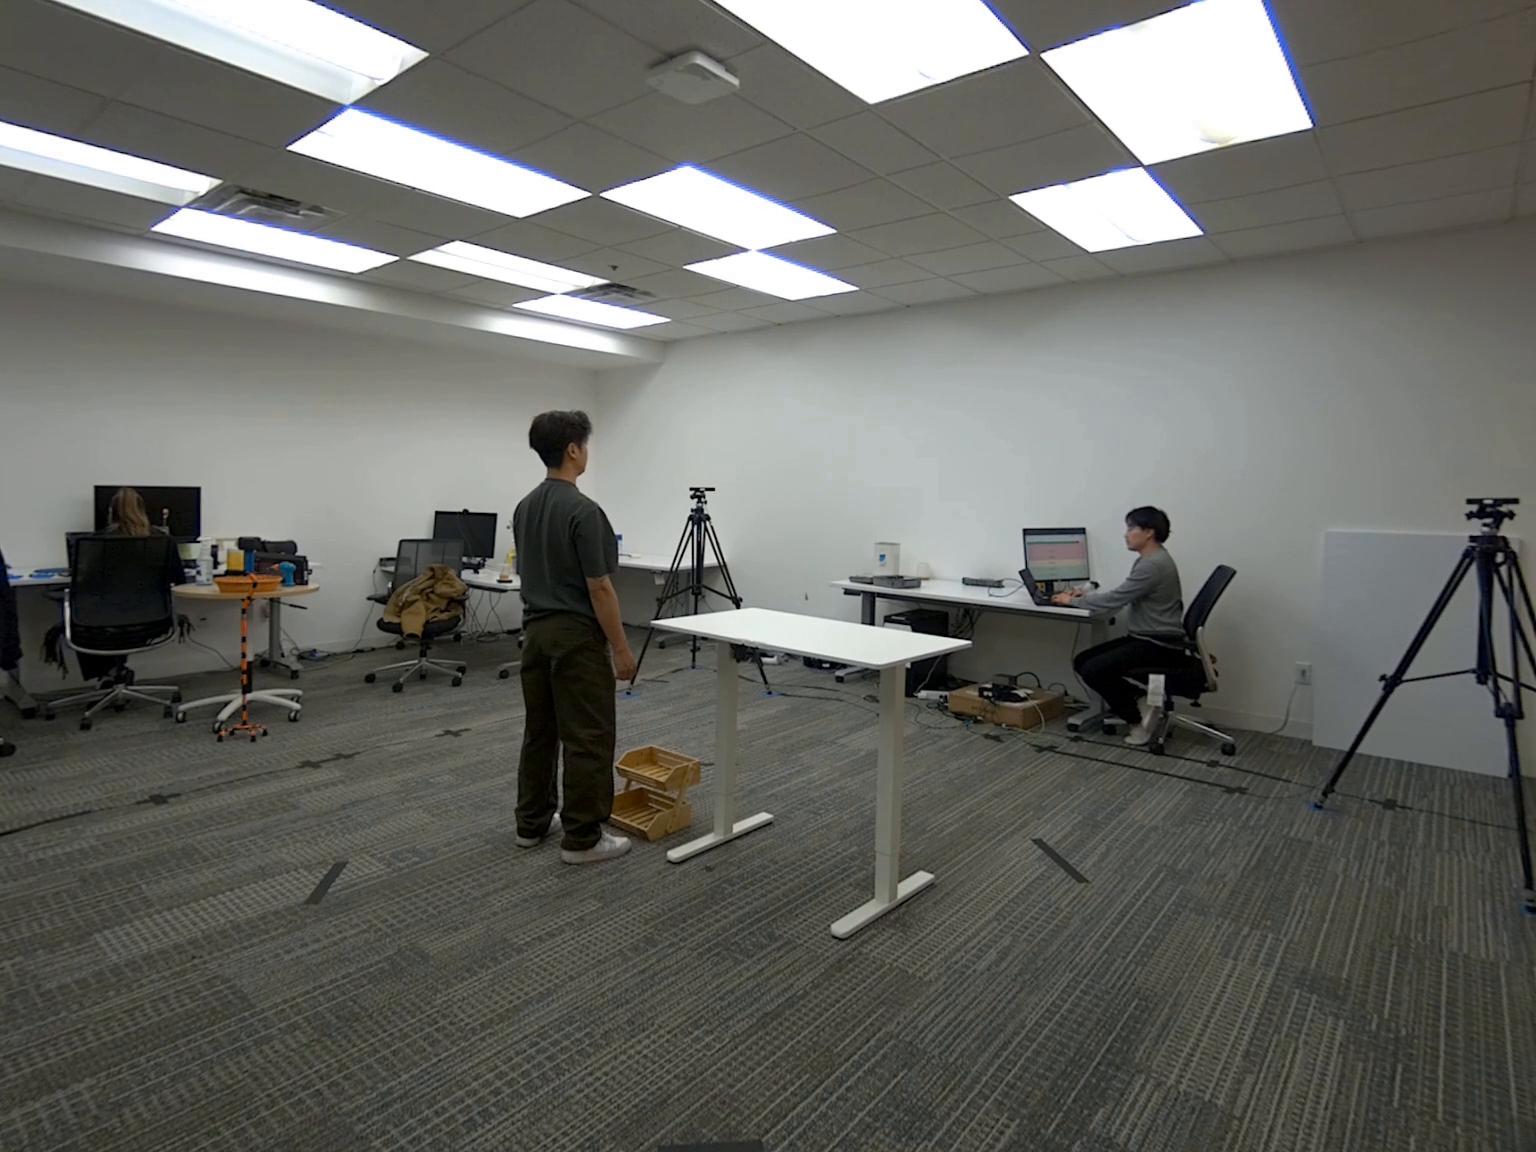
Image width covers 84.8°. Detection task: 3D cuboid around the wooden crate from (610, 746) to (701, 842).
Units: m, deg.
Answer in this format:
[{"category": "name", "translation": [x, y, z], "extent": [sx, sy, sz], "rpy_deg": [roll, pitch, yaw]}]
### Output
[{"category": "wooden crate", "translation": [-0.508, 0.884, 3.531], "extent": [0.335, 0.273, 0.293], "rpy_deg": [4, 5, 41]}]
